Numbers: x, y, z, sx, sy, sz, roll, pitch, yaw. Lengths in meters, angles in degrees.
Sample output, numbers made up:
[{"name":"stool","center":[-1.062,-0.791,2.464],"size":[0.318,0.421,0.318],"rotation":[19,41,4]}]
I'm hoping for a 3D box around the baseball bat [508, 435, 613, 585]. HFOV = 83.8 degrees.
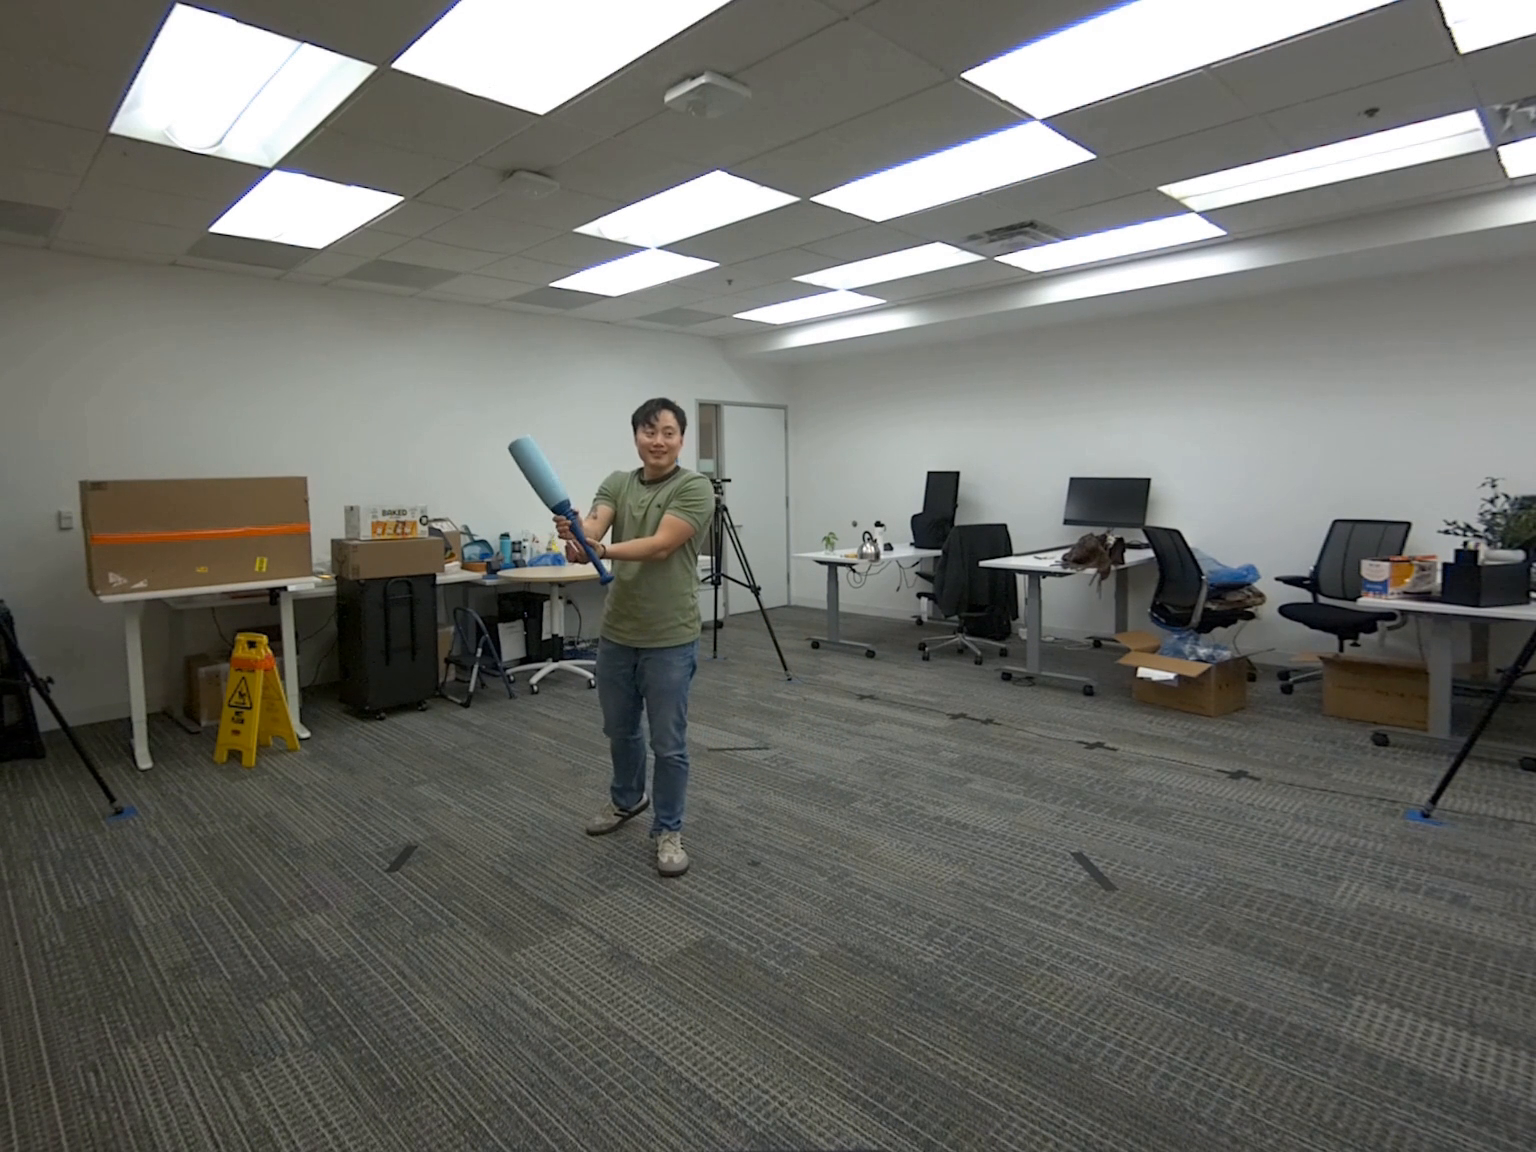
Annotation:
[{"name":"baseball bat","center":[-0.649,-0.205,2.704],"size":[0.089,0.546,0.089],"rotation":[-32,-4,-3]}]
